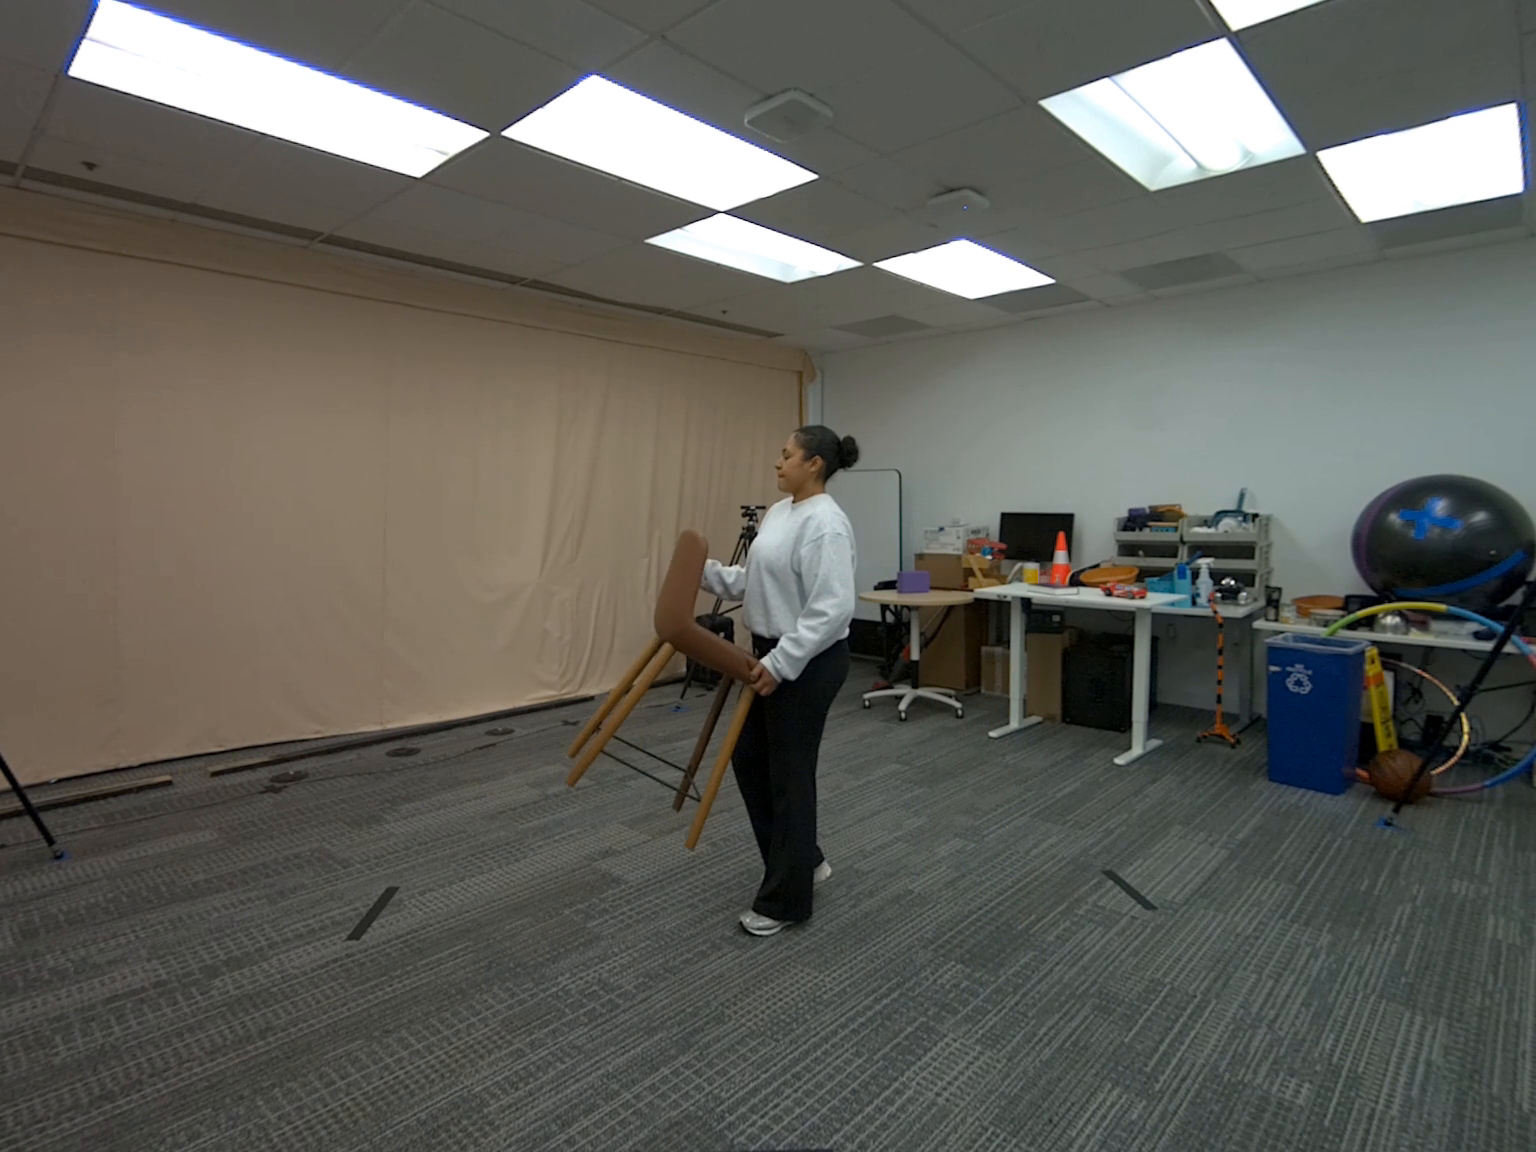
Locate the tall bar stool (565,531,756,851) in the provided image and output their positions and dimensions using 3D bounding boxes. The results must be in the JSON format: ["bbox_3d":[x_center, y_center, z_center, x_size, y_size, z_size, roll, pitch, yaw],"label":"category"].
[{"bbox_3d":[-0.260,0.353,2.790,0.462,0.890,0.462,27,-5,-11],"label":"tall bar stool"}]
